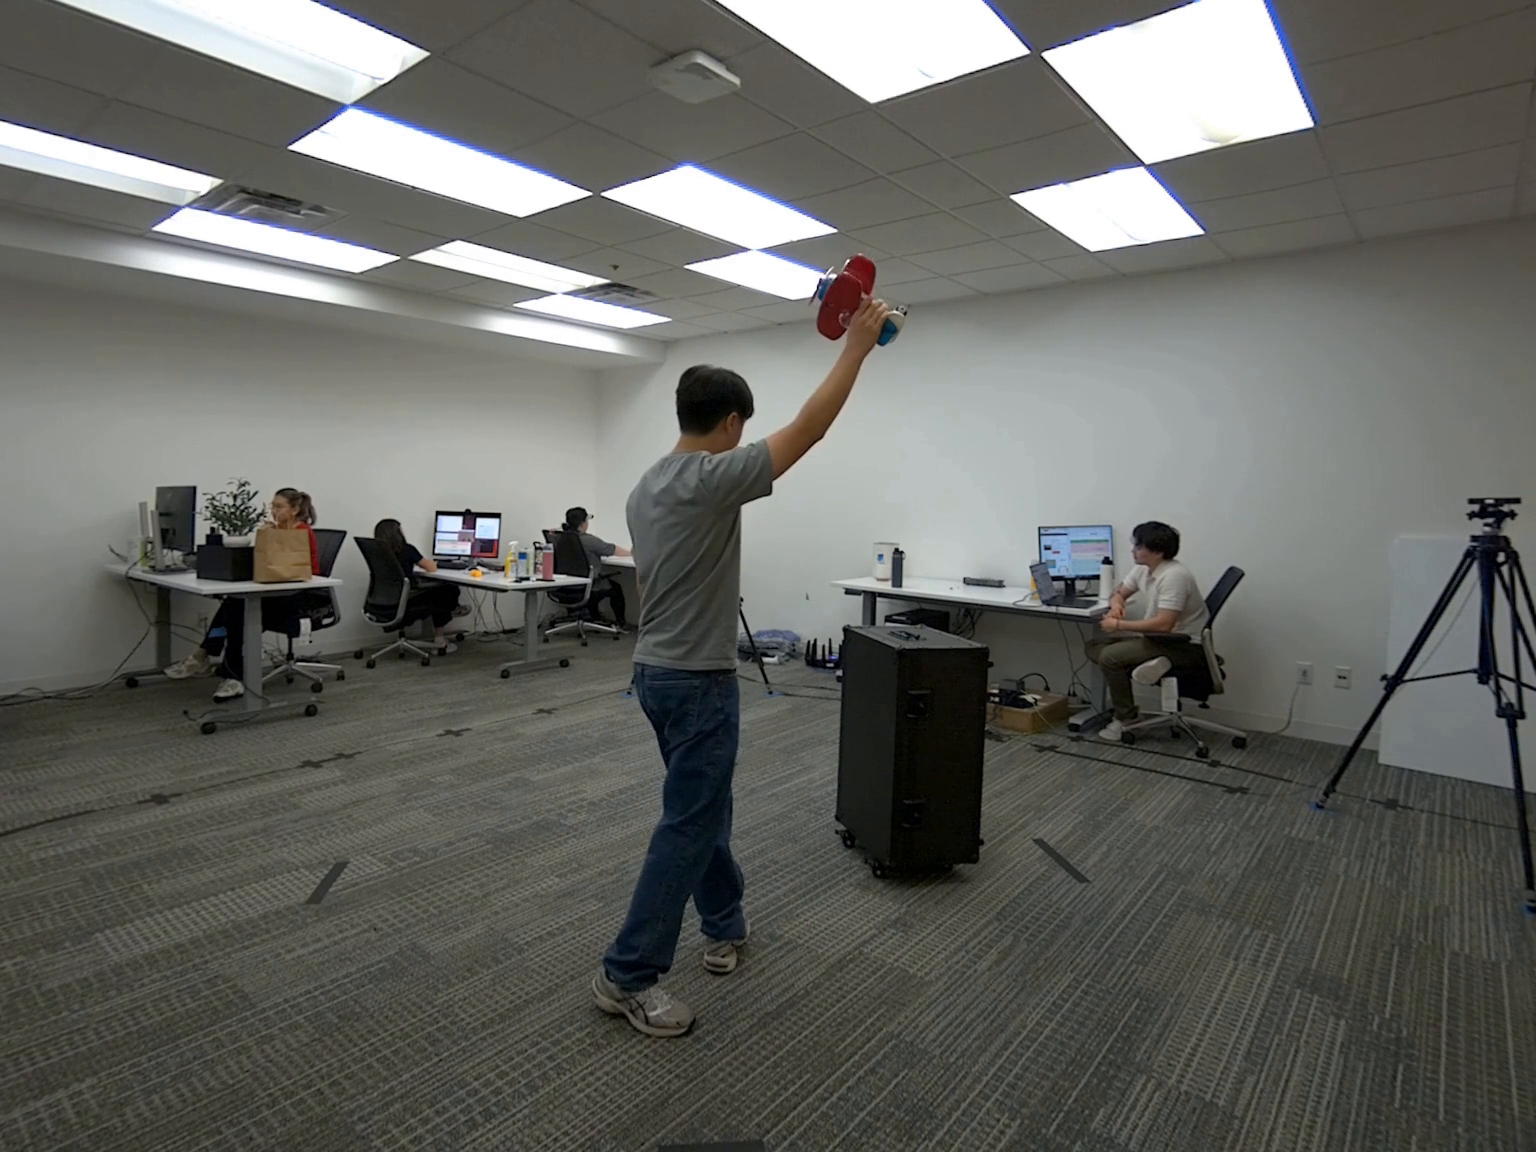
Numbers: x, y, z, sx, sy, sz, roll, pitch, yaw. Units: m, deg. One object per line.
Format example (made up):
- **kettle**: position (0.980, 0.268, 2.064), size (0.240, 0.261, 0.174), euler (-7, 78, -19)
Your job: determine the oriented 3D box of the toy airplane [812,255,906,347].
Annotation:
- **toy airplane**: position (0.231, -0.749, 2.311), size (0.155, 0.242, 0.270), euler (-38, 52, -21)
